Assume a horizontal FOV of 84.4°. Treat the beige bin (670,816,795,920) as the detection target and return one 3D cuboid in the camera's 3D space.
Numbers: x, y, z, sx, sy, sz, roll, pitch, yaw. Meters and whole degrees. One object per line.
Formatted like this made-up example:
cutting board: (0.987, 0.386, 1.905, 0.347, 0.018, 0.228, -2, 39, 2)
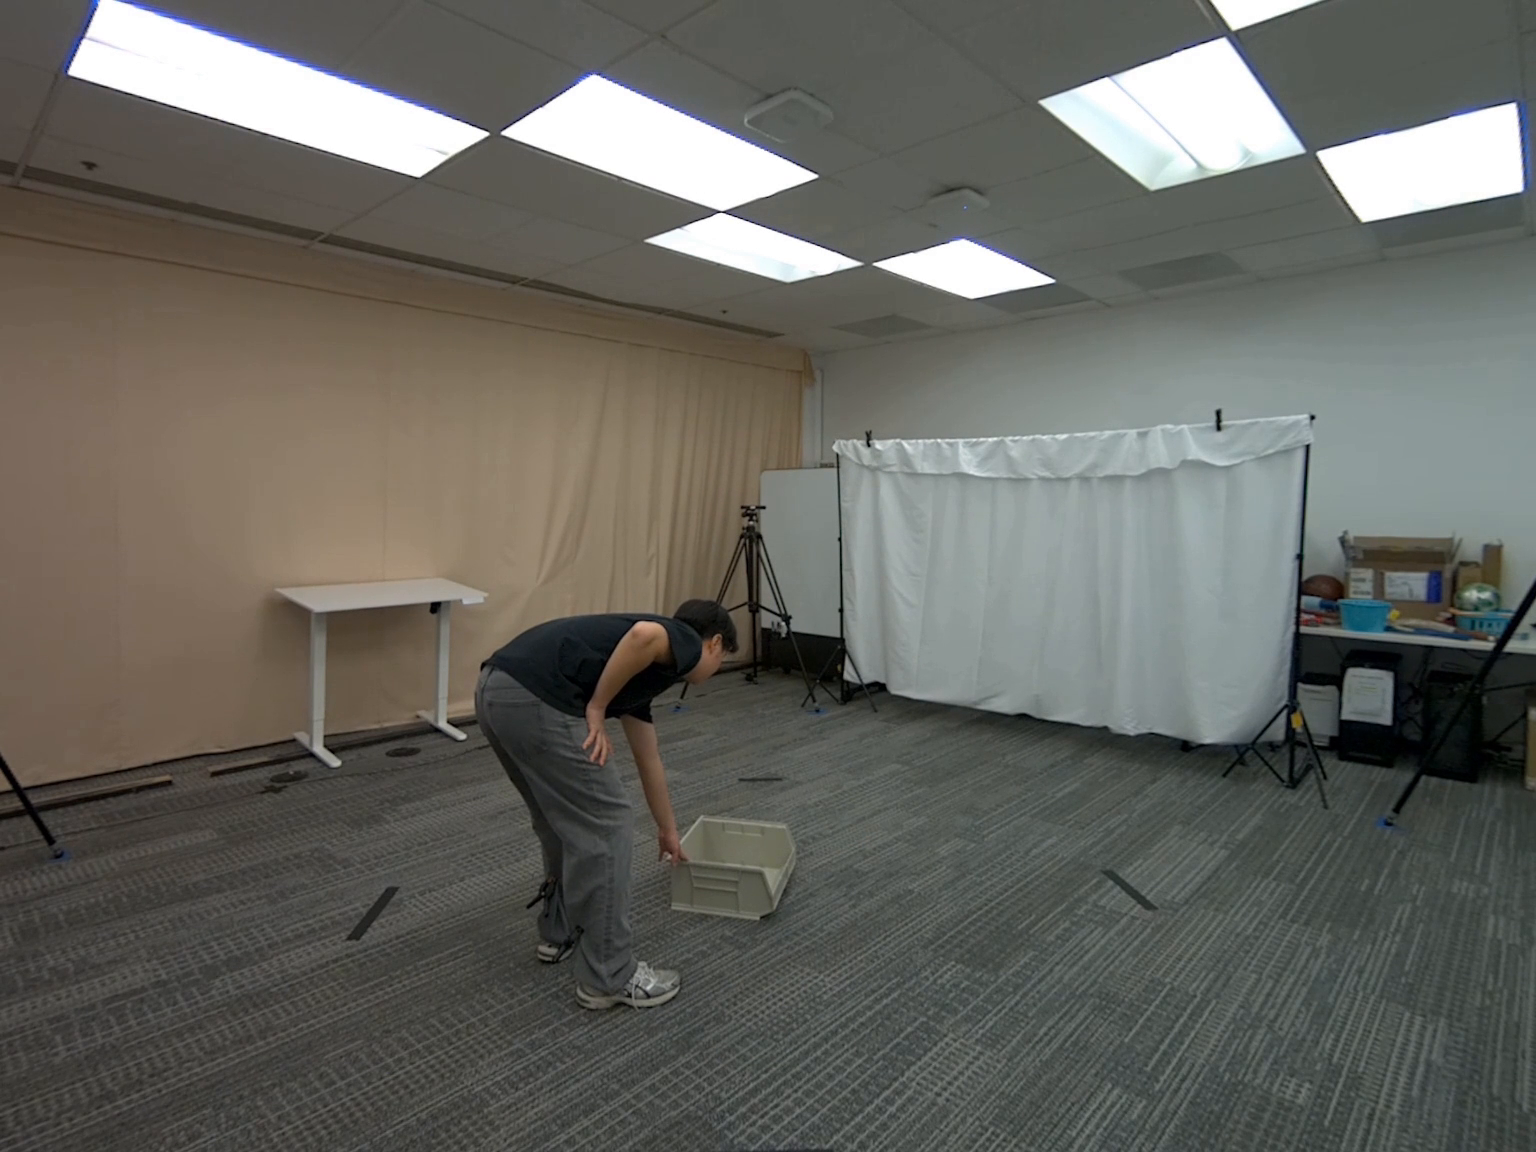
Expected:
beige bin: (-0.118, 1.050, 3.054, 0.383, 0.188, 0.417, 0, 5, 13)
